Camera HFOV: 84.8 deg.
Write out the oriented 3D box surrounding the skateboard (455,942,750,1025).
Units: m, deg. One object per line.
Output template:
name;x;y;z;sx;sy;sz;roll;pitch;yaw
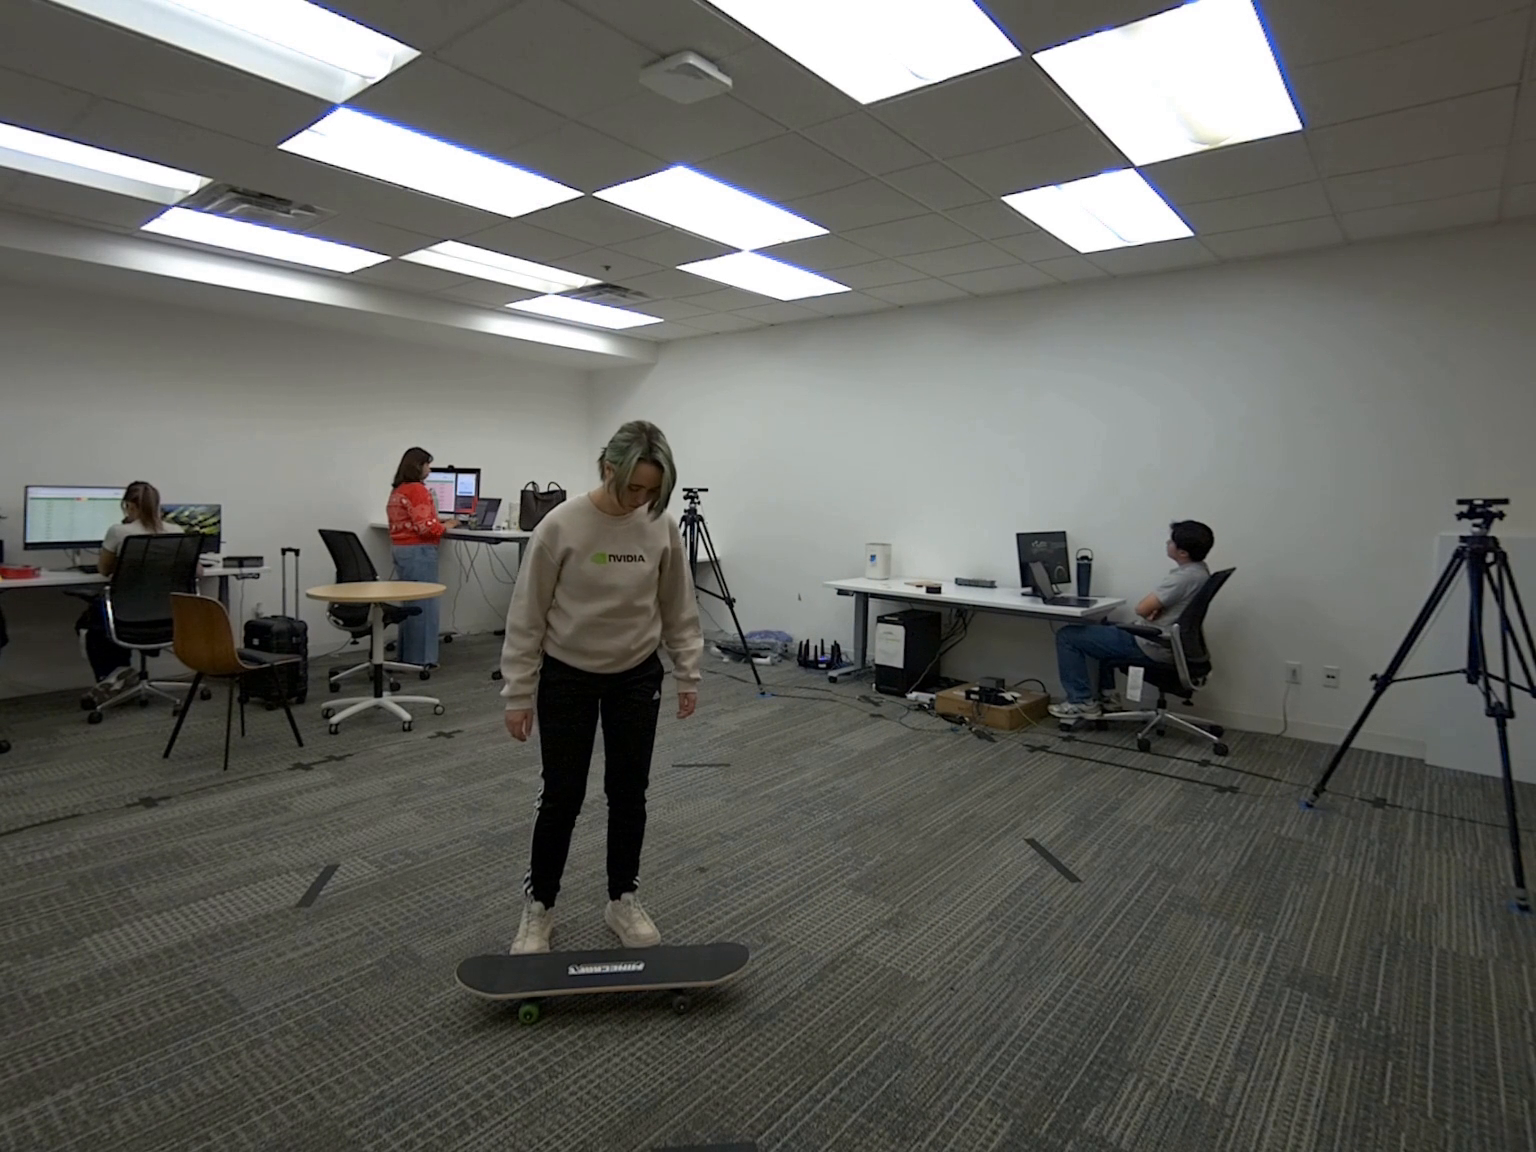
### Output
skateboard;-0.435;1.085;2.304;0.779;0.110;0.196;0;7;-8
